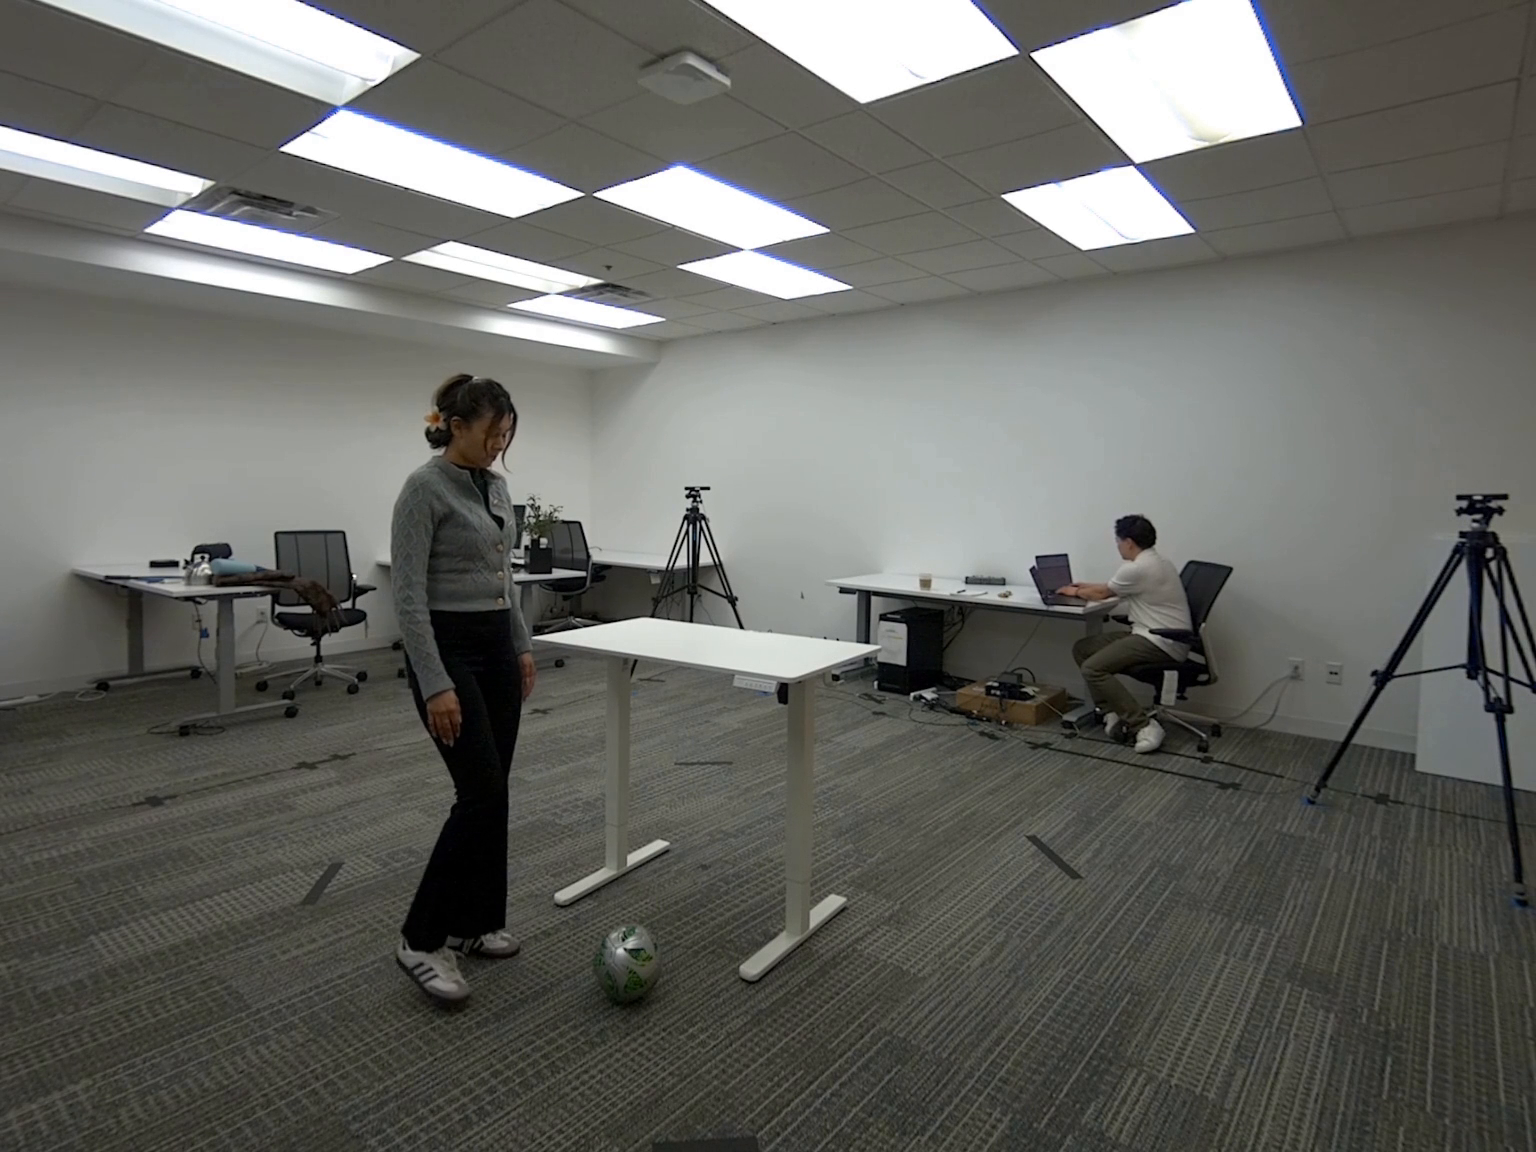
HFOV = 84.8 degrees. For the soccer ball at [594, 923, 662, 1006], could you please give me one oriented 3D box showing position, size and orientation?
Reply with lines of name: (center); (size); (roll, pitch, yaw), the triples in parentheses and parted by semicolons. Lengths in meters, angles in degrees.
soccer ball: (-0.383, 1.052, 2.306); (0.187, 0.187, 0.188); (0, 4, -2)
